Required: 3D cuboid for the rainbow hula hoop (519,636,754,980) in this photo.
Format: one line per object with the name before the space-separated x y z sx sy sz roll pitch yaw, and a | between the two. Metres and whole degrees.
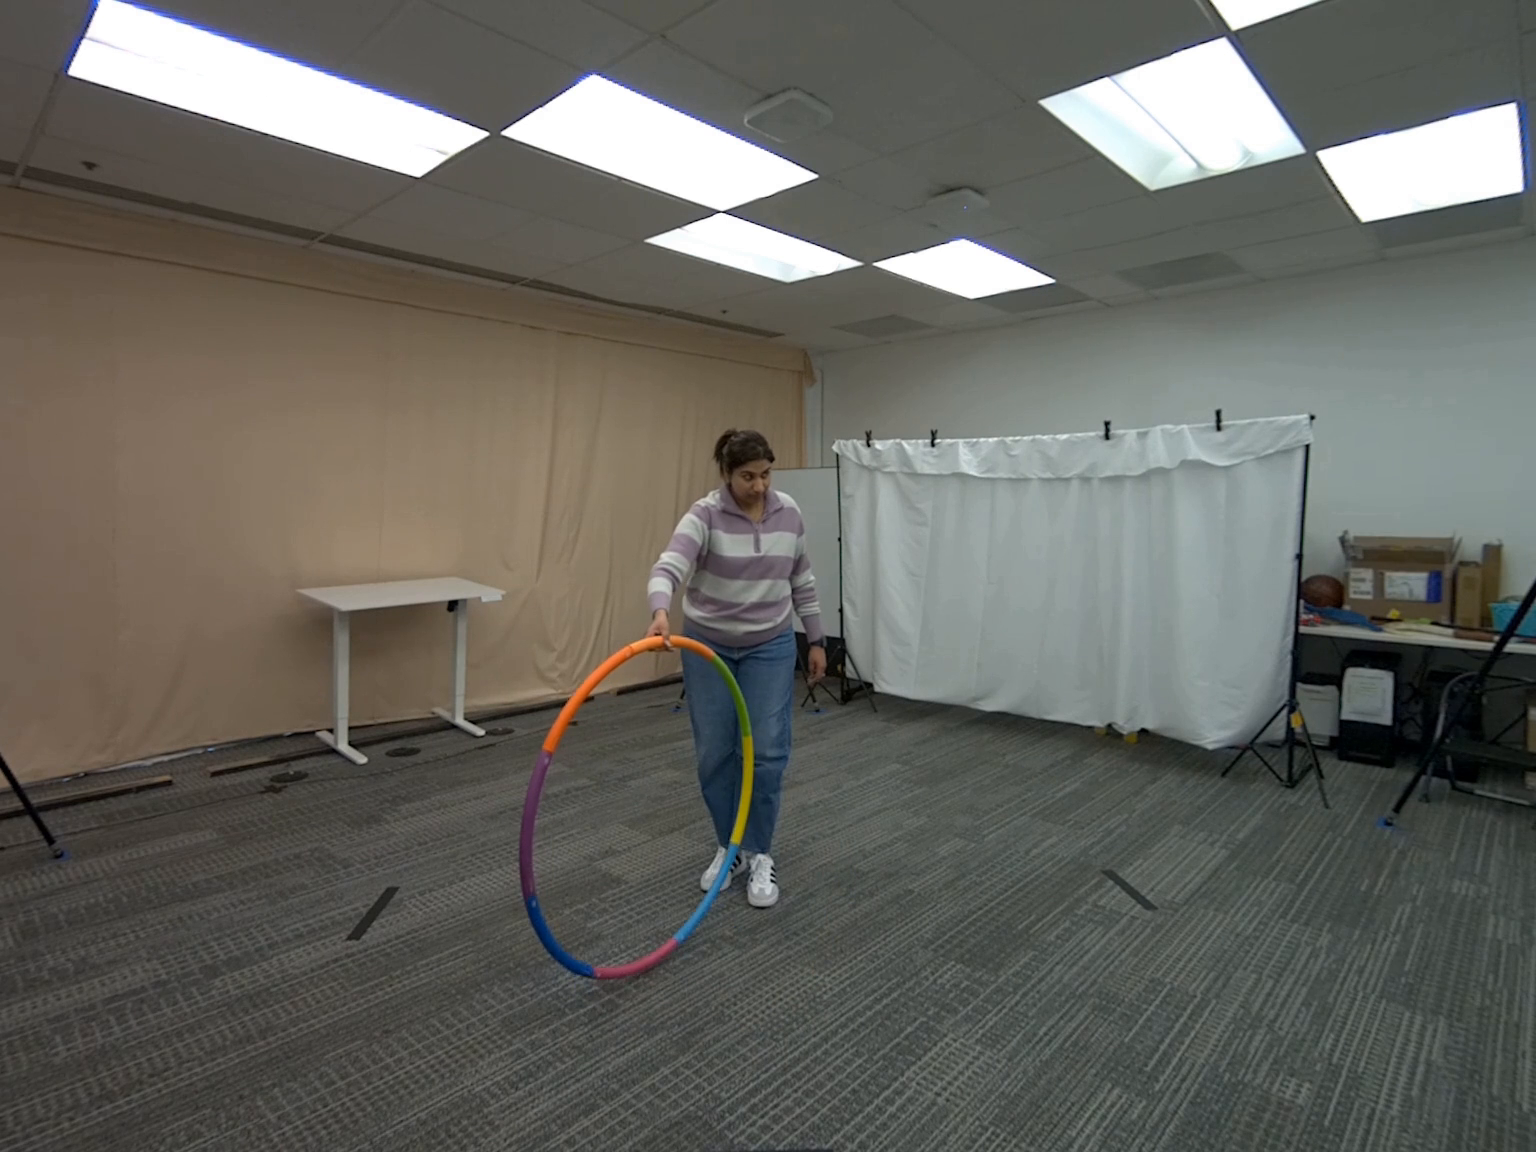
rainbow hula hoop | -0.336 0.675 2.491 0.037 0.976 0.950 5 6 37
